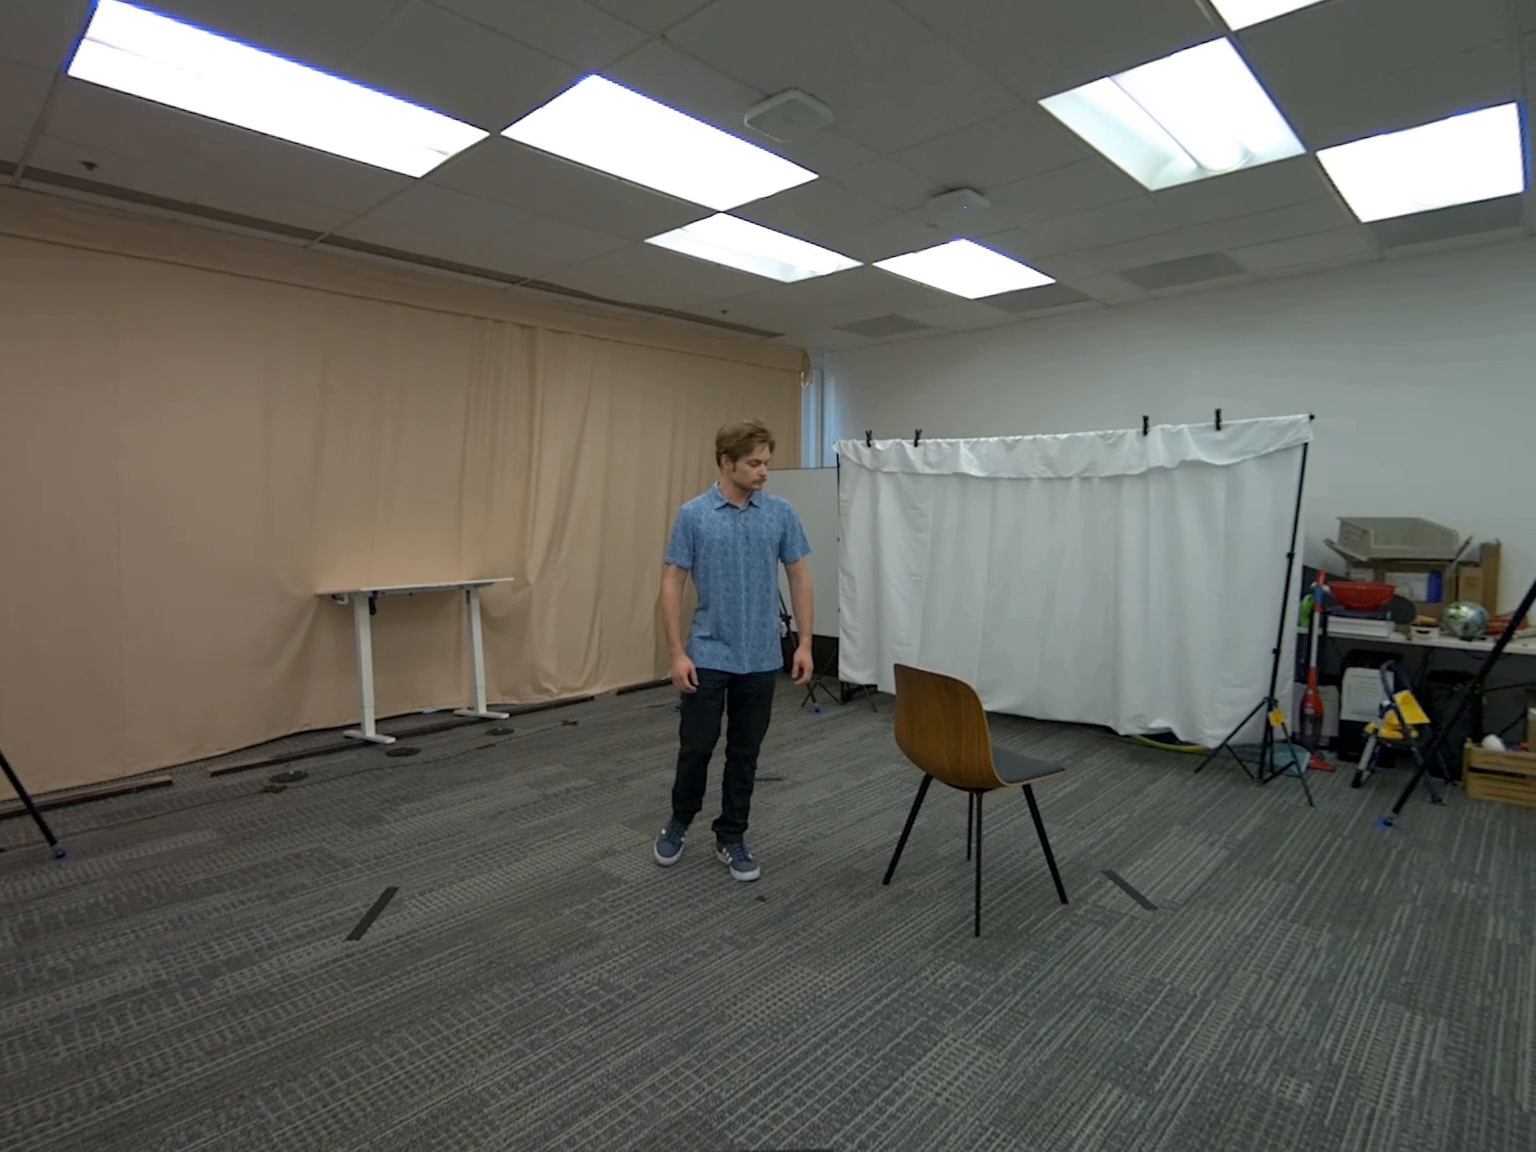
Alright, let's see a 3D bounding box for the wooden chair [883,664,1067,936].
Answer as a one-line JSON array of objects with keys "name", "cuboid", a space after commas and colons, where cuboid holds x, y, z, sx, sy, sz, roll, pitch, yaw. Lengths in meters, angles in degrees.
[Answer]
[{"name": "wooden chair", "cuboid": [0.749, 0.712, 2.988, 0.509, 0.874, 0.493, -7, 6, -33]}]
